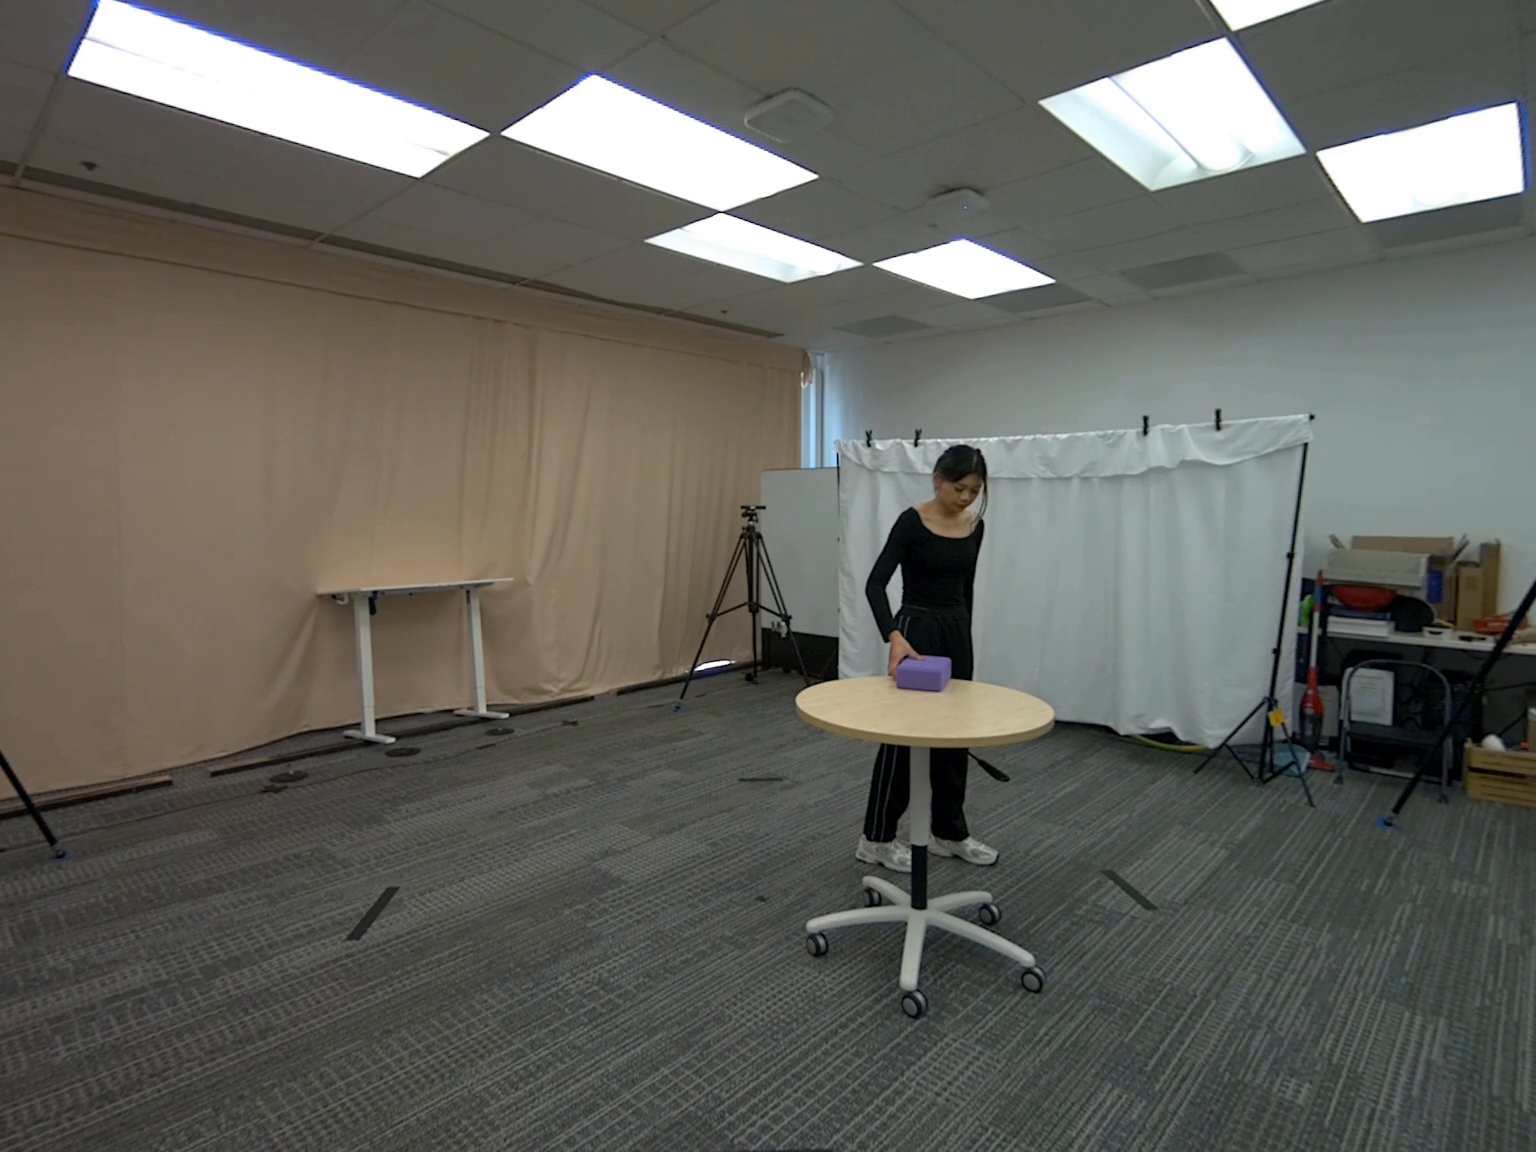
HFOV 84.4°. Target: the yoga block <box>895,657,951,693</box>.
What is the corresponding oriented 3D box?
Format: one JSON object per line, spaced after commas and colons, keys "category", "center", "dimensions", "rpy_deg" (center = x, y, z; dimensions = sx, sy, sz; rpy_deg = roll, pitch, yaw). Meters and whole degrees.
{"category": "yoga block", "center": [0.536, 0.330, 2.843], "dimensions": [0.152, 0.076, 0.225], "rpy_deg": [3, 7, 21]}
